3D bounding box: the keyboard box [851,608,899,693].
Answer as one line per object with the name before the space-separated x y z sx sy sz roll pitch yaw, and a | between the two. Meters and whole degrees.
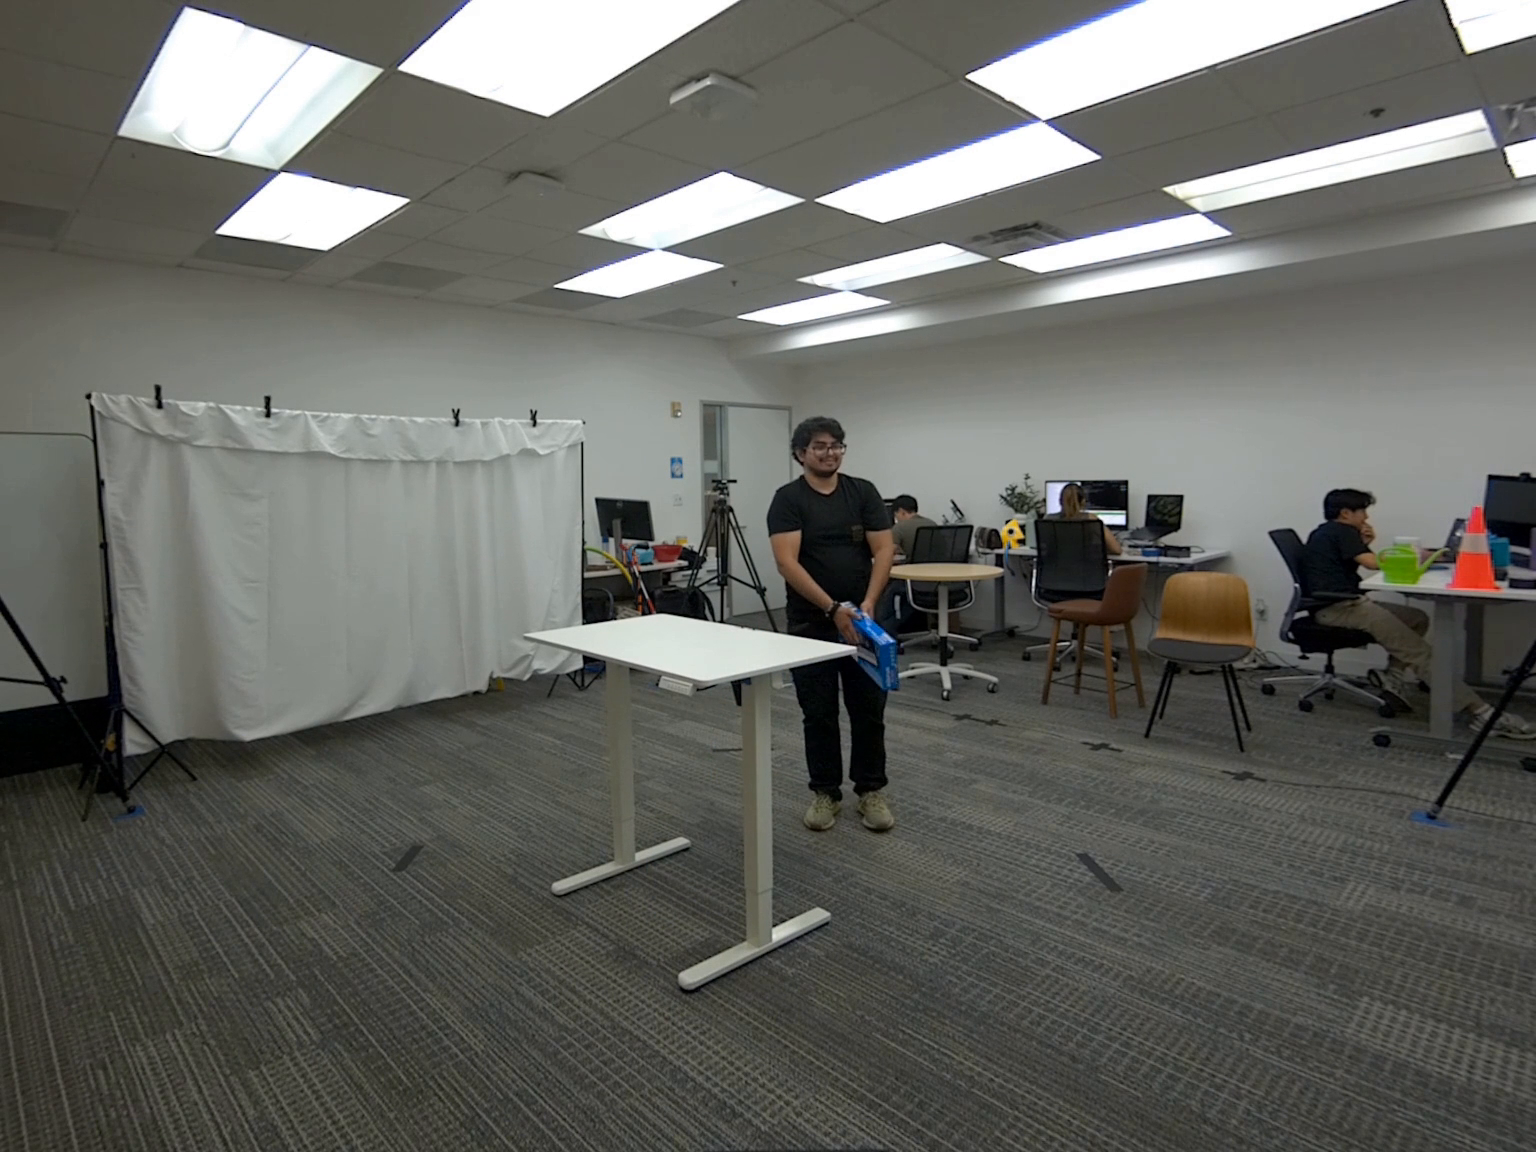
keyboard box | 0.358 0.250 3.107 0.058 0.173 0.448 -9 18 -13
